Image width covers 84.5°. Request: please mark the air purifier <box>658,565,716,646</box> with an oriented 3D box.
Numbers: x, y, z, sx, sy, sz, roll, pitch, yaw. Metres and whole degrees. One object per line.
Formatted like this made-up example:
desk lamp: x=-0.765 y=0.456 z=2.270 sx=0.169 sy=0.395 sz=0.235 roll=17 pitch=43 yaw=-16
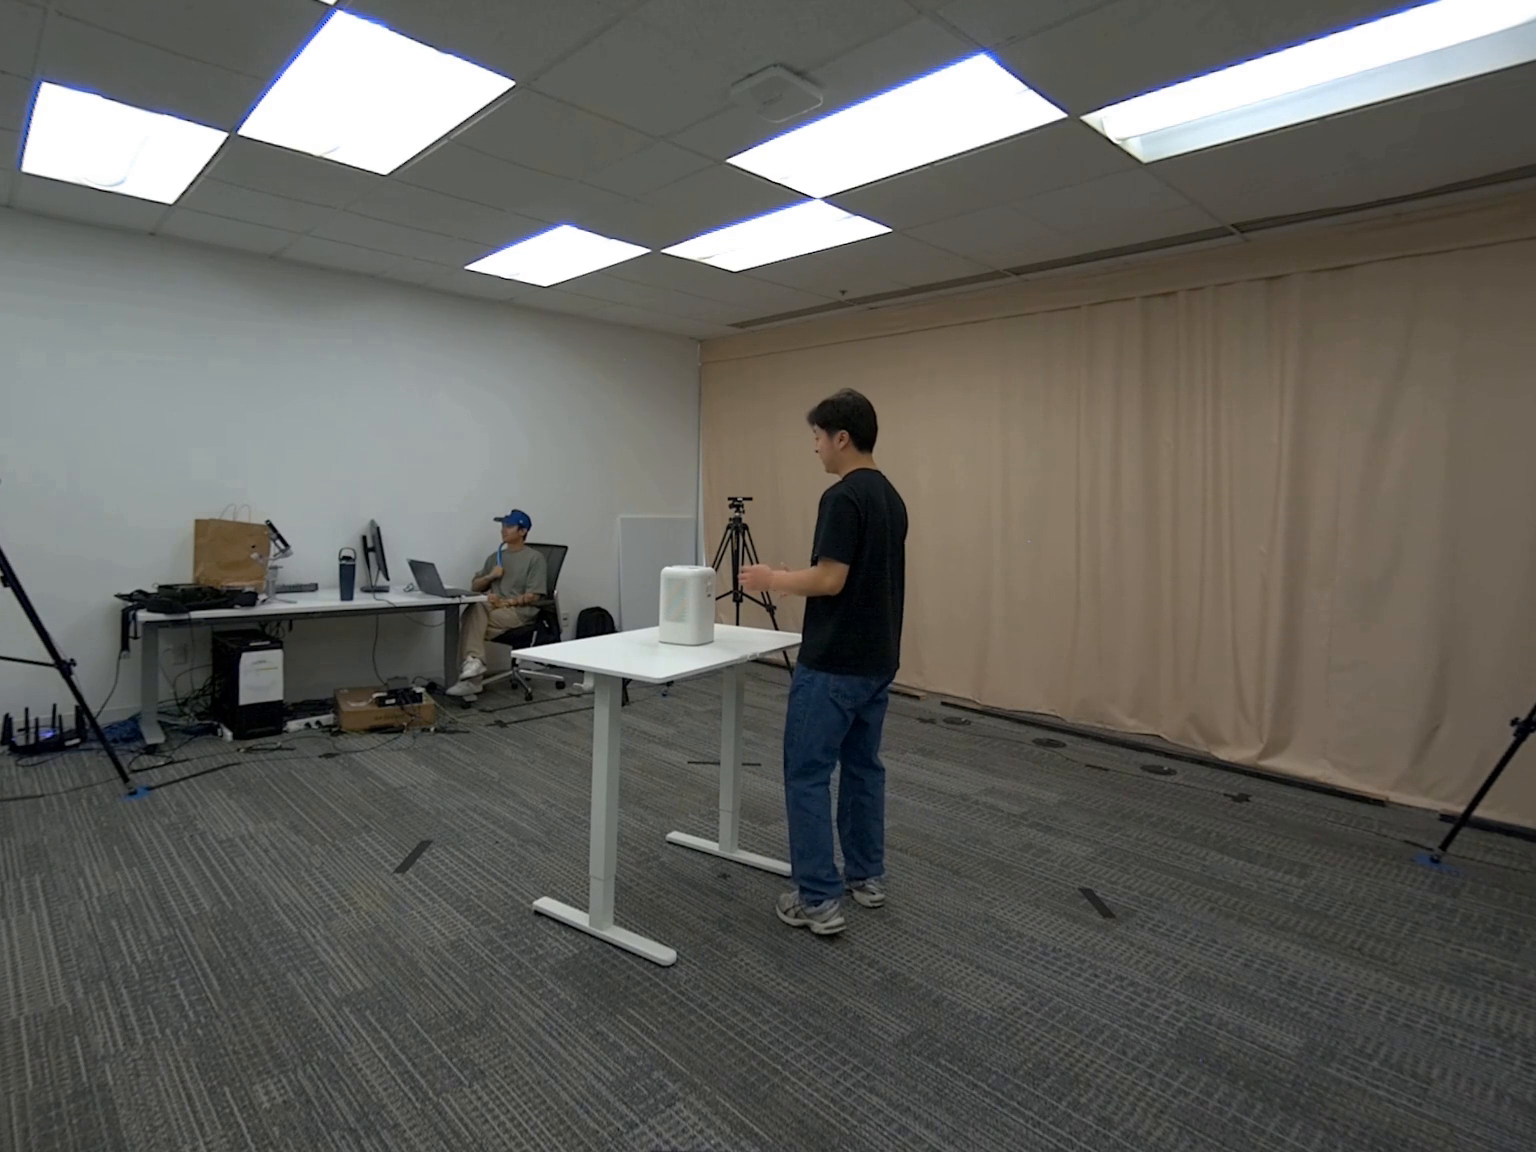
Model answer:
air purifier: x=-0.284 y=0.099 z=2.978 sx=0.175 sy=0.265 sz=0.168 roll=4 pitch=4 yaw=25
